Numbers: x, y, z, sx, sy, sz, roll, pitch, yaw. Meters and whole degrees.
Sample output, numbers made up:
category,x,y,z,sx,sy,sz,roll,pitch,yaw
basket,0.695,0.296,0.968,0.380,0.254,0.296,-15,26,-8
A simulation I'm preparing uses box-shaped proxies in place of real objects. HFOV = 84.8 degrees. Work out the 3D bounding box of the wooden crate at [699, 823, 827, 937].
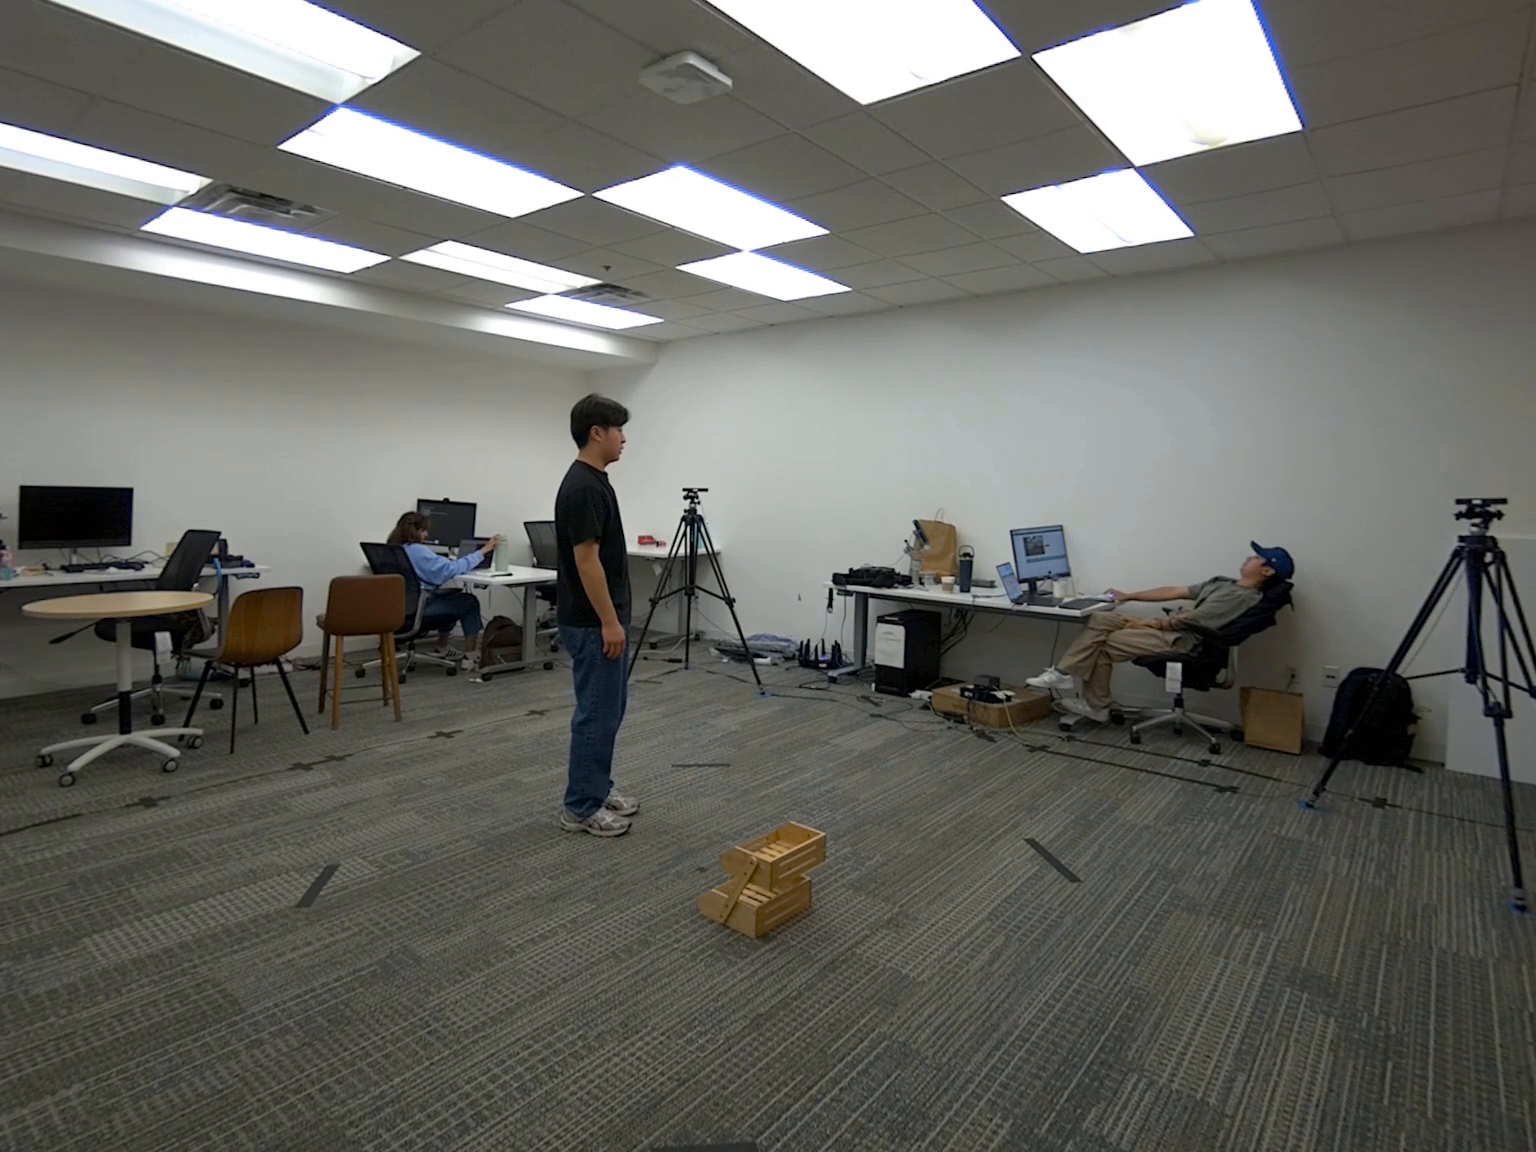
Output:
category,x,y,z,sx,sy,sz,roll,pitch,yaw
wooden crate,-0.028,0.968,2.802,0.312,0.272,0.315,5,6,39
